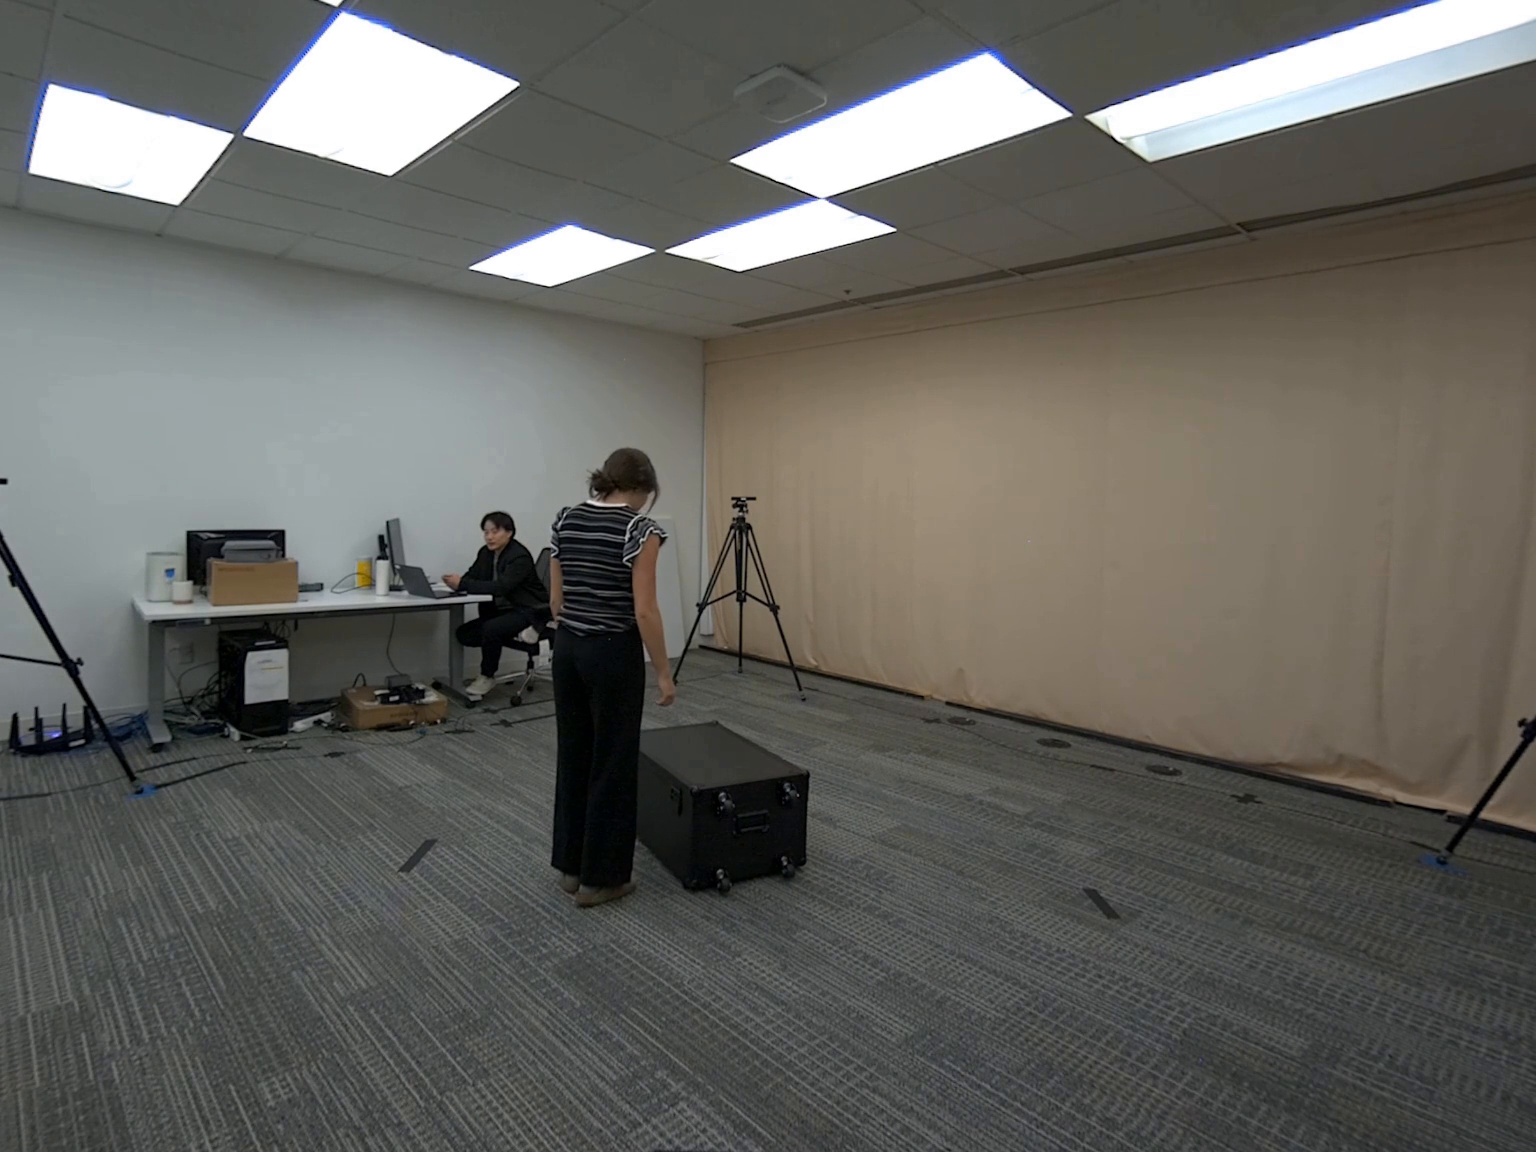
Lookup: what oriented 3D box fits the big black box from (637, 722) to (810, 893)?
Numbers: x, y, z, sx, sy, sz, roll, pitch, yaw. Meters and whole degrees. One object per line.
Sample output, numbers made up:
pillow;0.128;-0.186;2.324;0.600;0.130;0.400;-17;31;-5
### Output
big black box;-0.245;0.892;3.356;0.511;0.395;0.881;-1;5;-30
